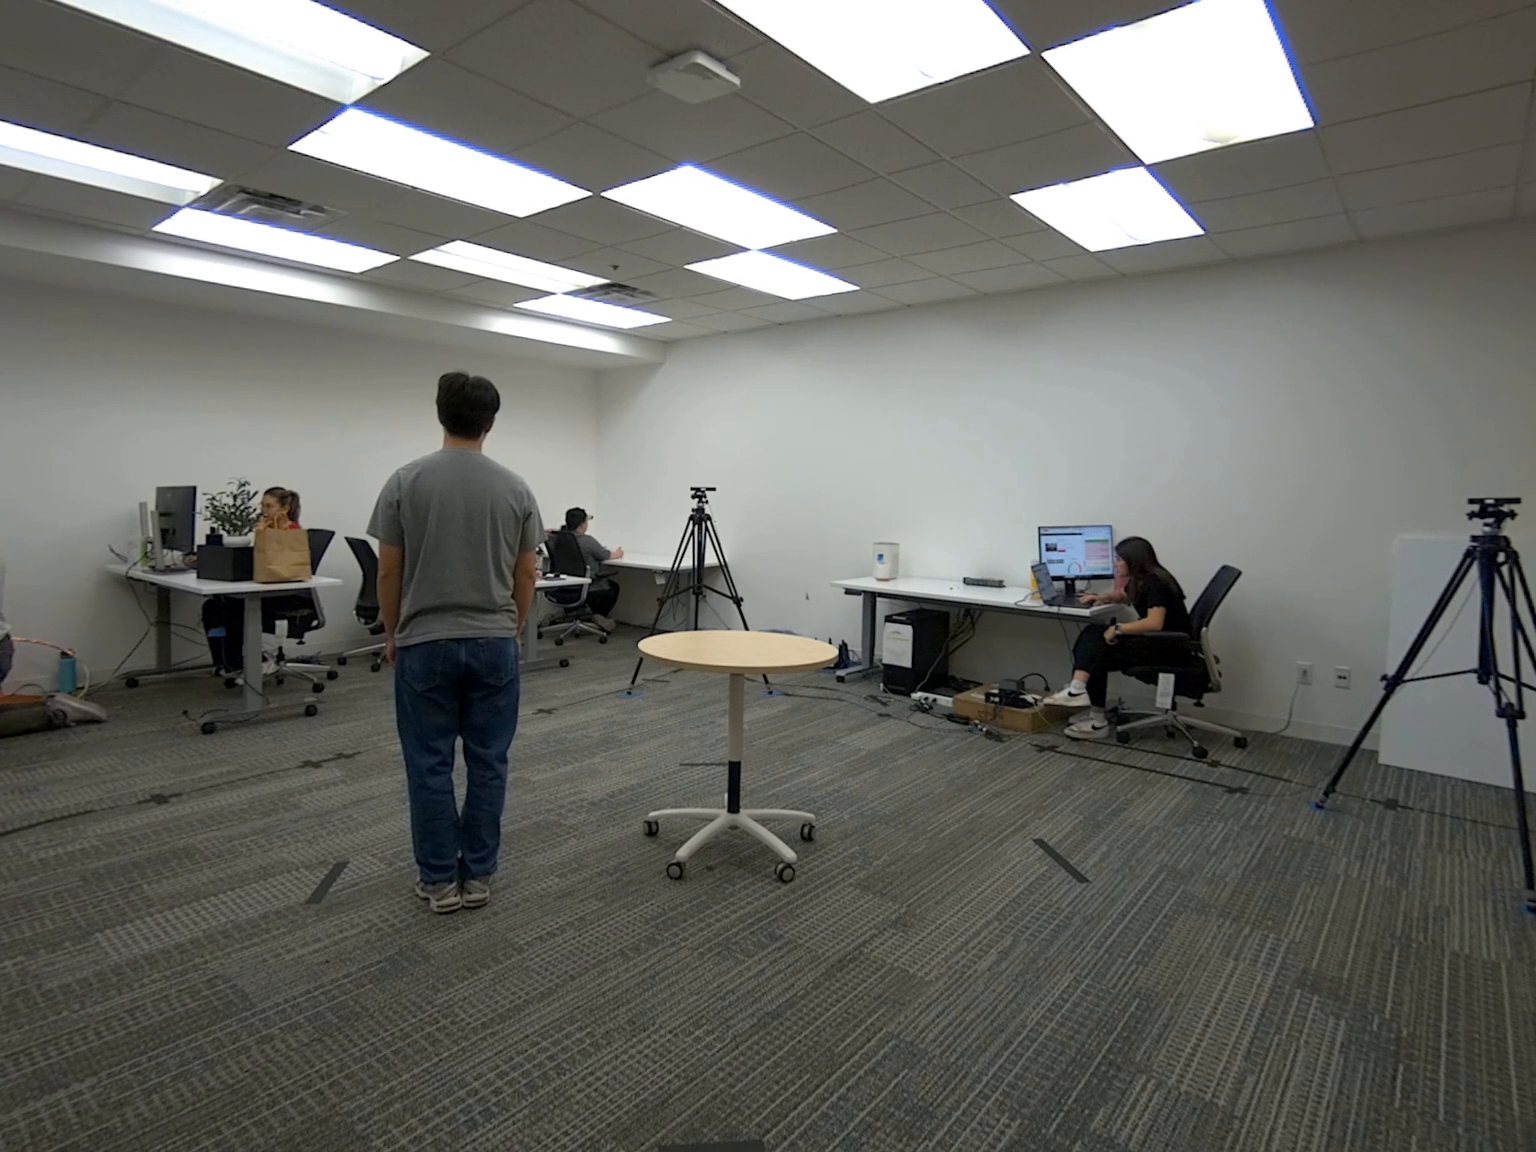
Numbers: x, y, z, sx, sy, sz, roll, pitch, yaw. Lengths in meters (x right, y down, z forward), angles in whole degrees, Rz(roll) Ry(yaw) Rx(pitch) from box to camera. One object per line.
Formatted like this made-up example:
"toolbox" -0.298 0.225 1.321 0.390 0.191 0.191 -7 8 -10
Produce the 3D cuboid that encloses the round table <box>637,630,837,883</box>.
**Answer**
"round table" -0.135 0.661 3.279 0.763 0.792 0.767 1 4 -2
